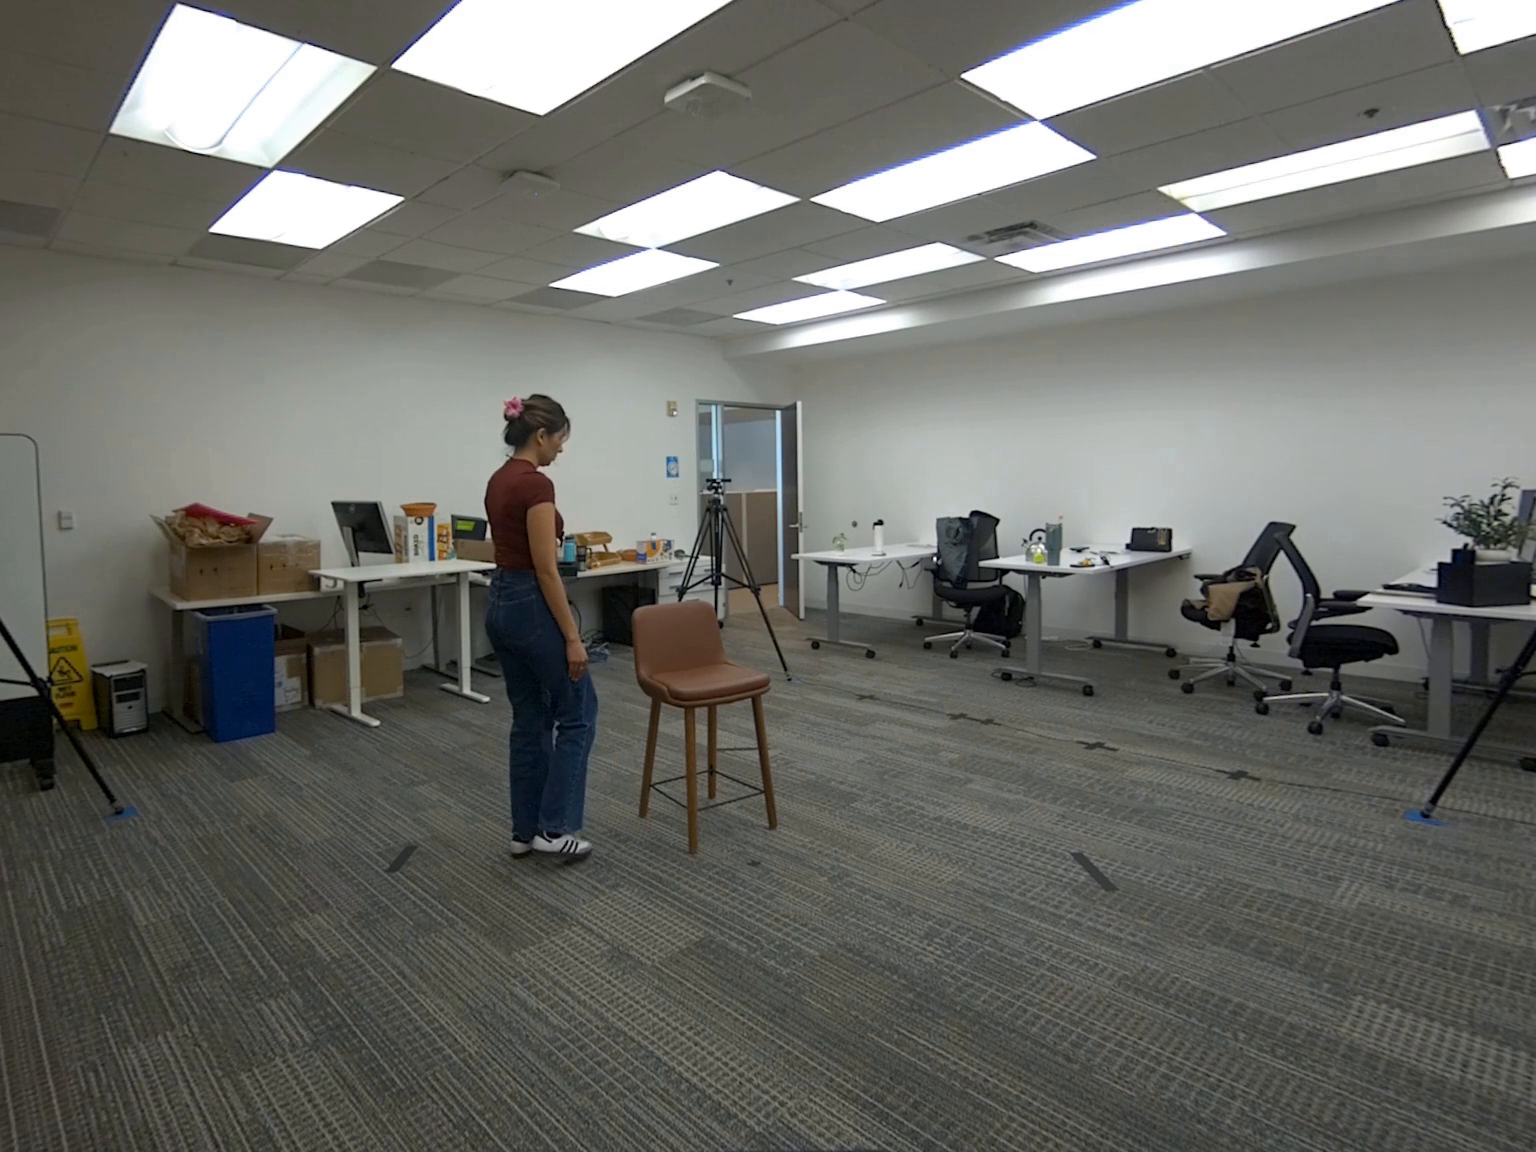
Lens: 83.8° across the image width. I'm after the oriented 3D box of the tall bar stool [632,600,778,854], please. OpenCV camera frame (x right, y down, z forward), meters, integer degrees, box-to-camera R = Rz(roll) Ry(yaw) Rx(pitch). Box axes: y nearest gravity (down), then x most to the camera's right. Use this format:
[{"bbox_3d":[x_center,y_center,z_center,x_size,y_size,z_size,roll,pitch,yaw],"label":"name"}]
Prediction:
[{"bbox_3d":[-0.269,0.572,3.469,0.445,0.888,0.481,-4,3,-36],"label":"tall bar stool"}]
